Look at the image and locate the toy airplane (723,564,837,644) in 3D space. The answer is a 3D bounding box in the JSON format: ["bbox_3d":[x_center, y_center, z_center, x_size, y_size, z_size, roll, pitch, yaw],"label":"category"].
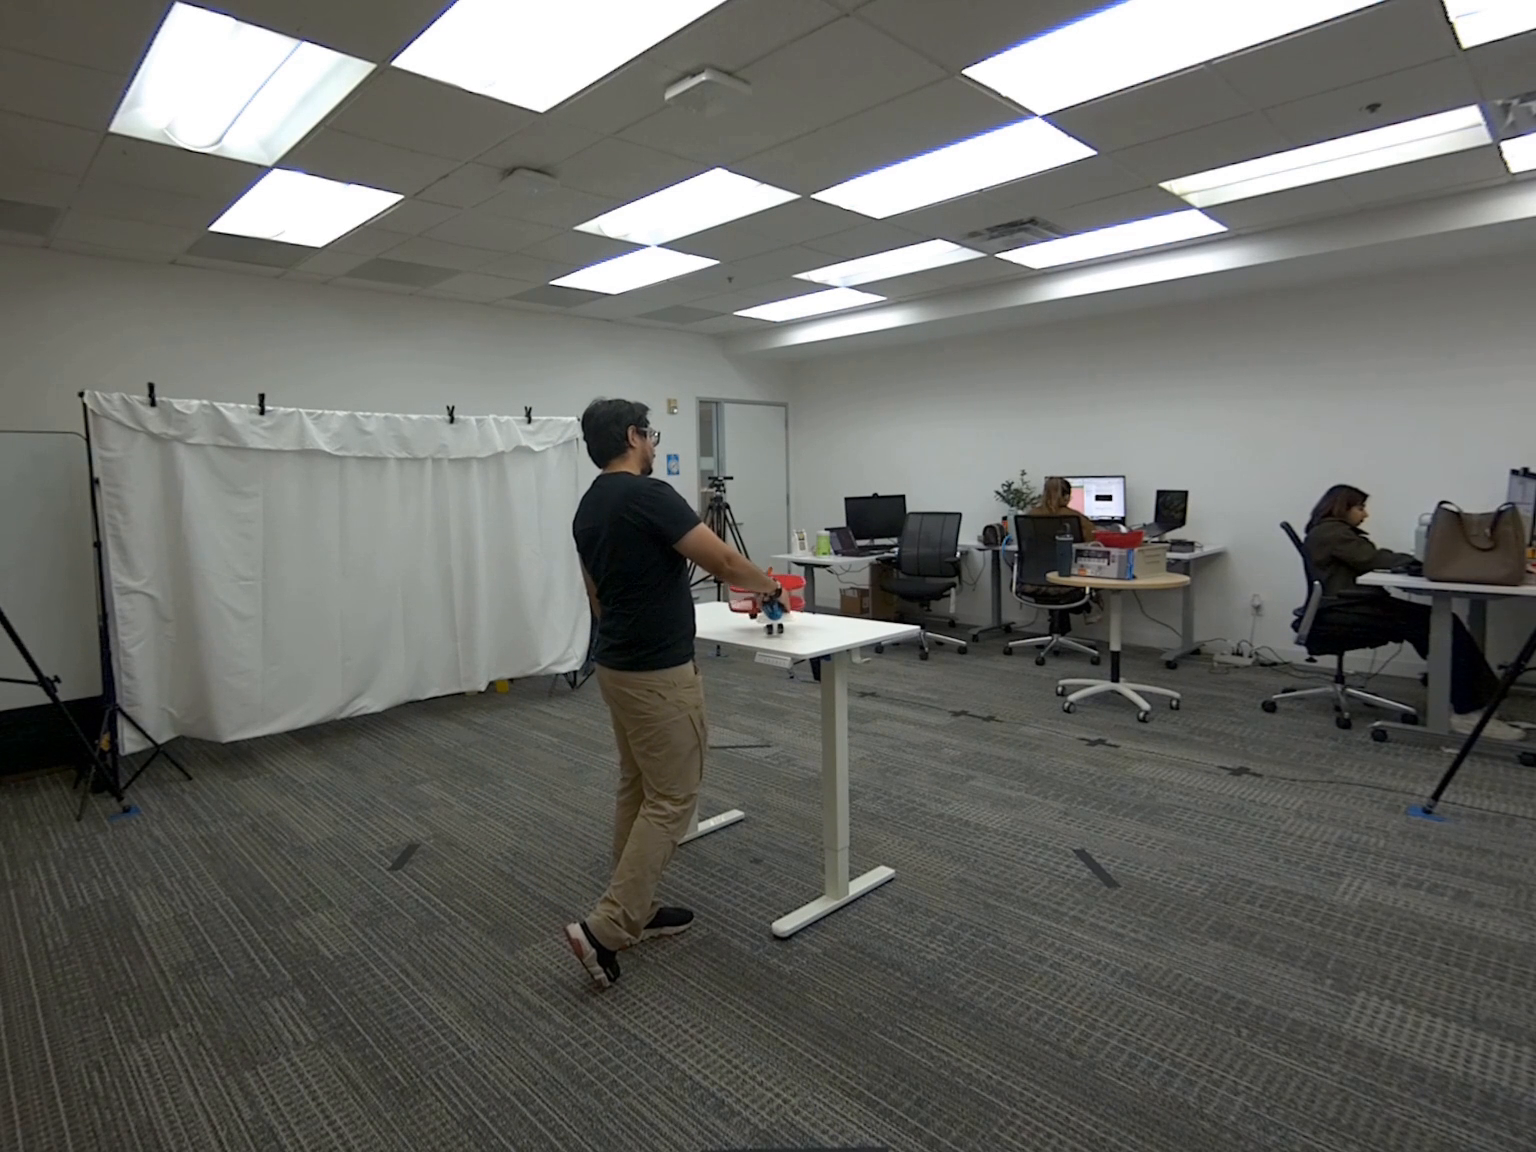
[{"bbox_3d":[0.037,0.082,2.801,0.246,0.154,0.268,-14,18,-35],"label":"toy airplane"}]
